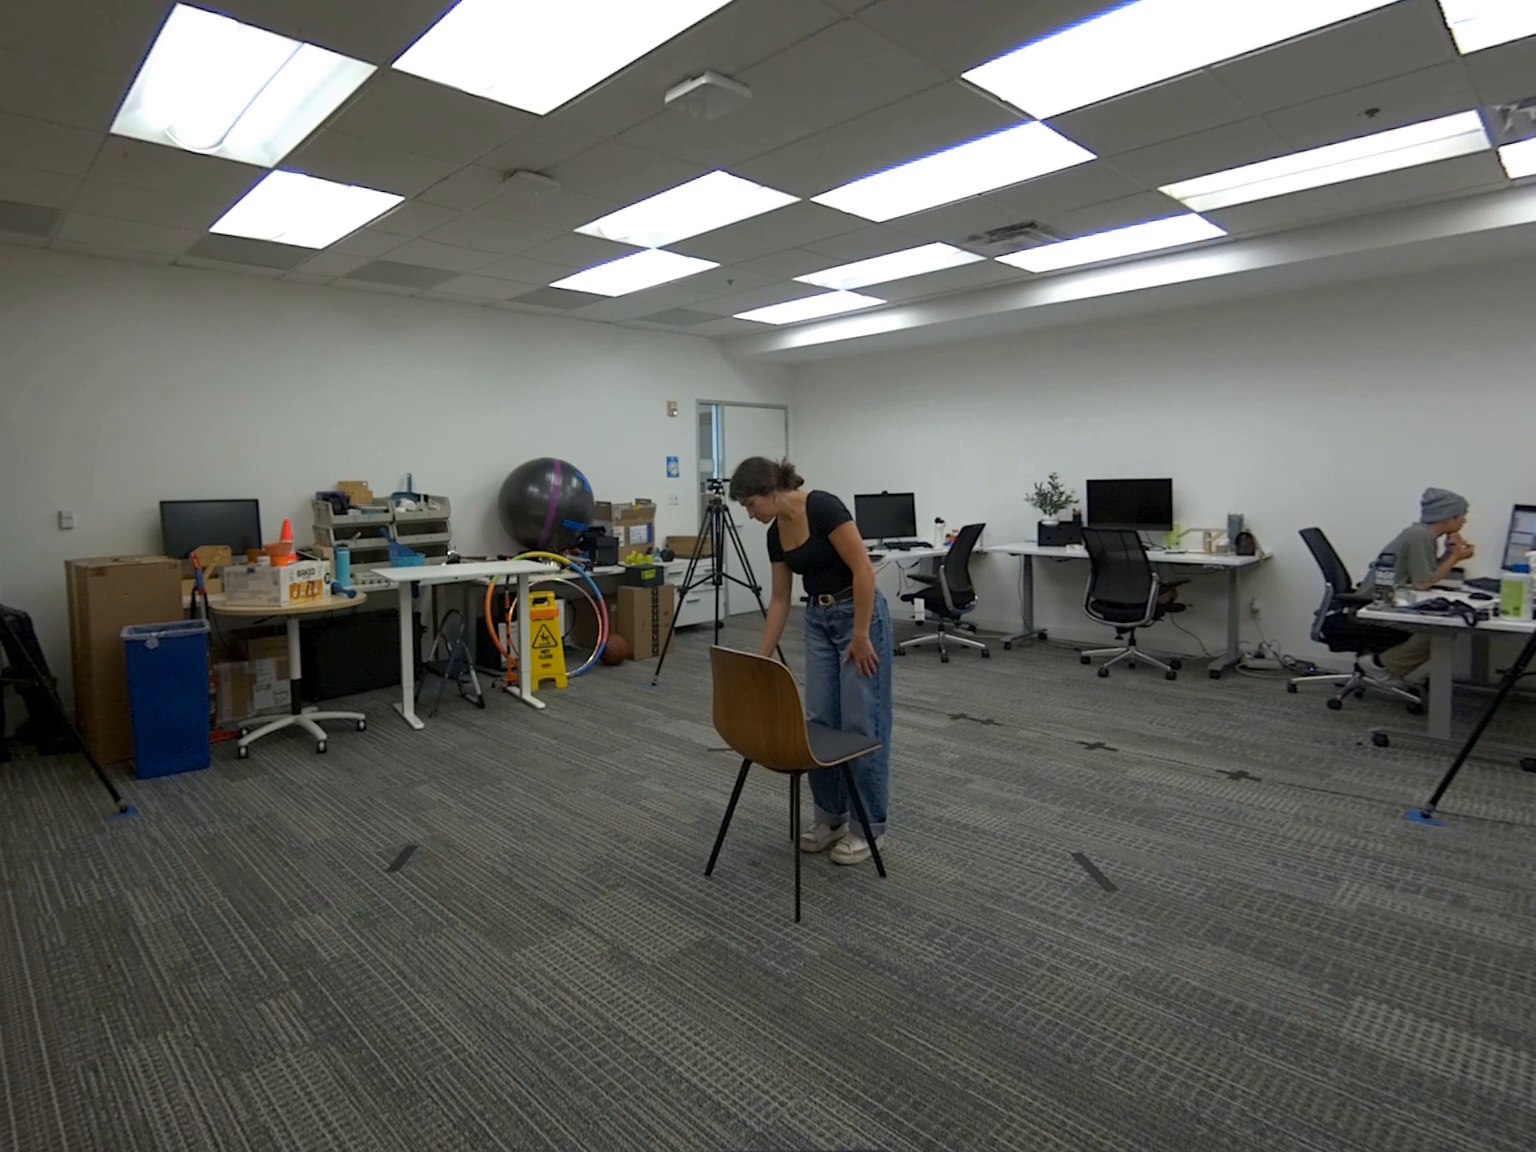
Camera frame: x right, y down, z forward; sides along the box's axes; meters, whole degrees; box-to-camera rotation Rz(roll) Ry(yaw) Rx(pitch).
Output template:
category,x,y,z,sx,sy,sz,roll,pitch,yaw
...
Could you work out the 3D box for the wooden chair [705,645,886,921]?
category,x,y,z,sx,sy,sz,roll,pitch,yaw
wooden chair,0.091,0.633,2.971,0.511,0.872,0.493,-10,9,-43
